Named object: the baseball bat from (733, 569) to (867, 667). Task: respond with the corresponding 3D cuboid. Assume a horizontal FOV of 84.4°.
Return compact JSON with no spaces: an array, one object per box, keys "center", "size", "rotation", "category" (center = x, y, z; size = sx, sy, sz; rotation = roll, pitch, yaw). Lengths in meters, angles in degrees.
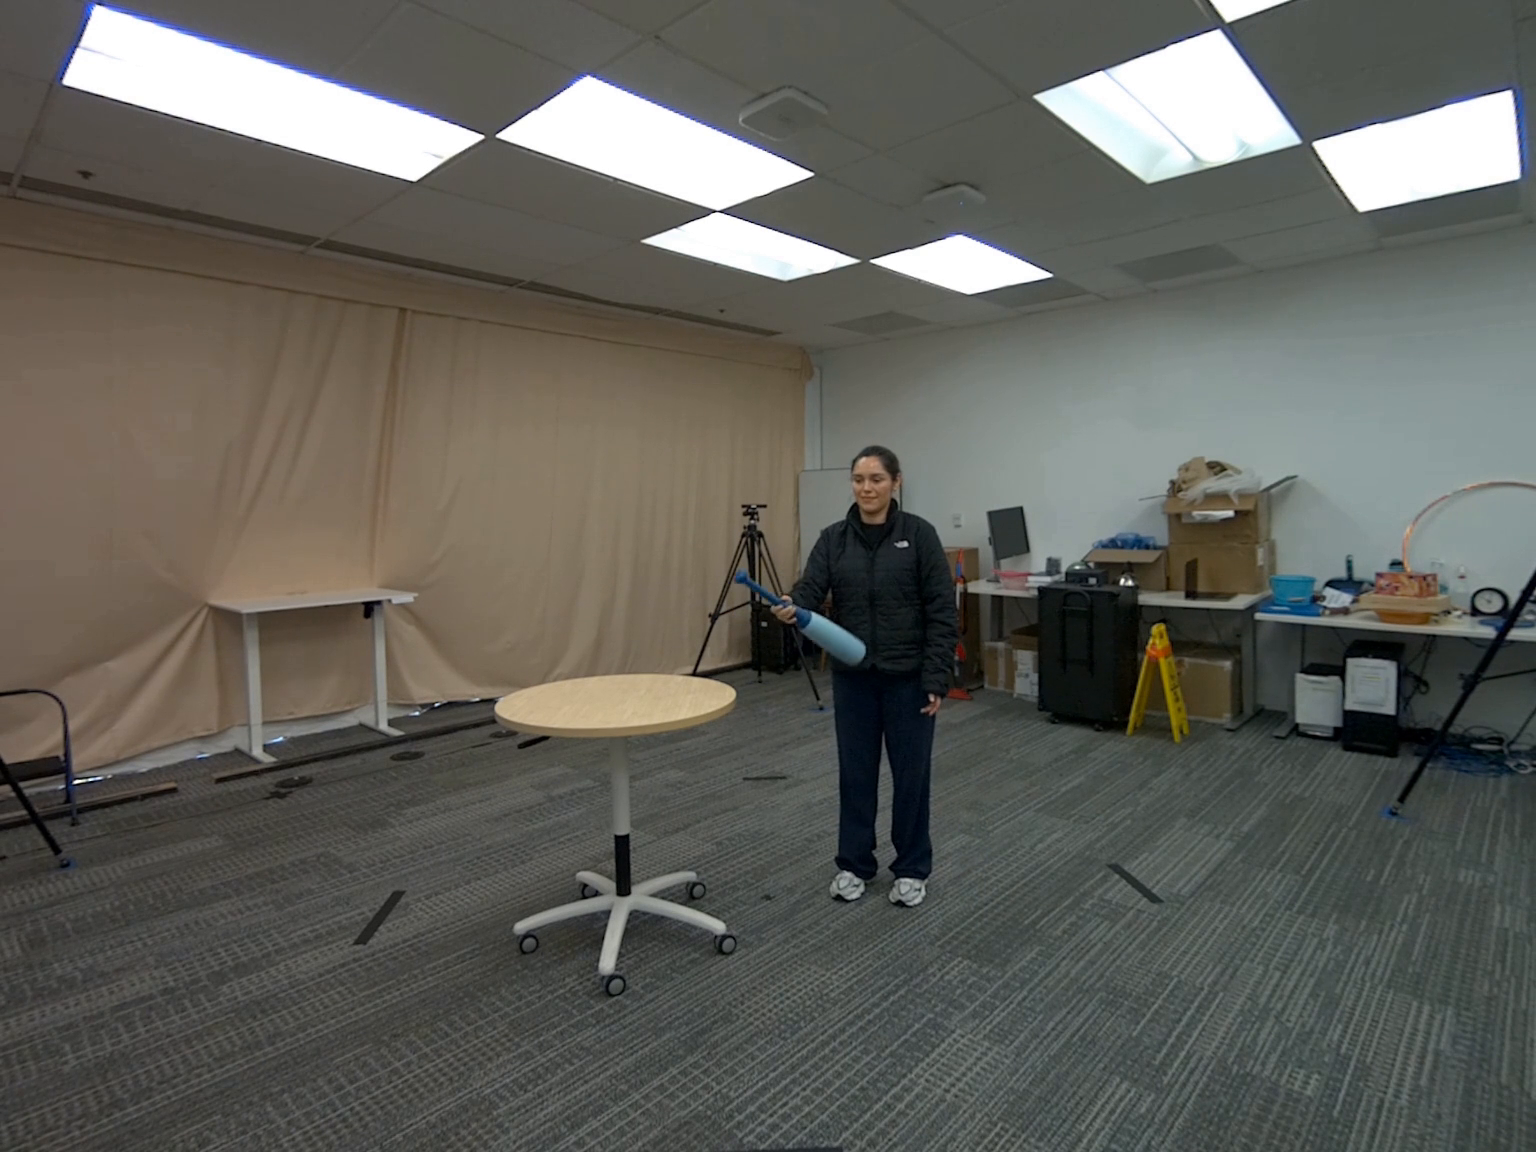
[{"center":[0.107,0.134,2.707],"size":[0.528,0.089,0.091],"rotation":[36,-15,-26],"category":"baseball bat"}]
